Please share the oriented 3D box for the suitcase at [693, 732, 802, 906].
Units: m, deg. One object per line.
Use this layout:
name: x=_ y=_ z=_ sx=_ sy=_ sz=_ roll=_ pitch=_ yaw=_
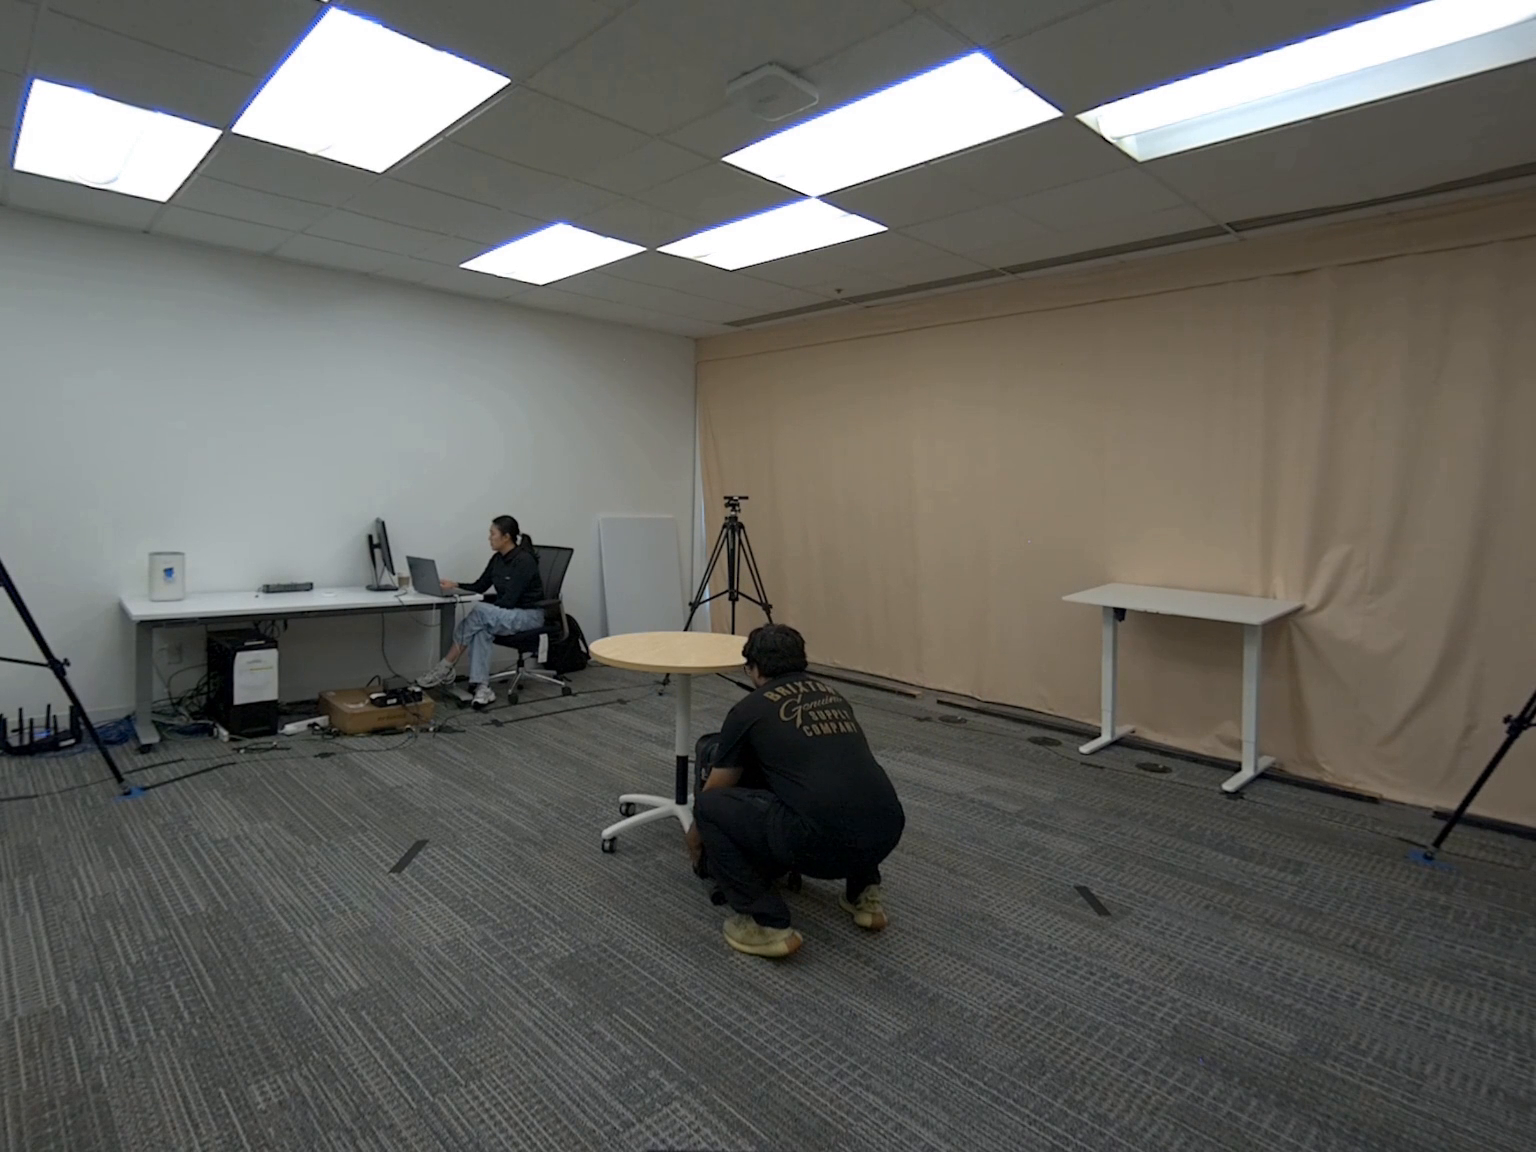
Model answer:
suitcase: x=-0.076 y=0.834 z=3.043 sx=0.369 sy=0.548 sz=0.253 roll=1 pitch=3 yaw=-24
